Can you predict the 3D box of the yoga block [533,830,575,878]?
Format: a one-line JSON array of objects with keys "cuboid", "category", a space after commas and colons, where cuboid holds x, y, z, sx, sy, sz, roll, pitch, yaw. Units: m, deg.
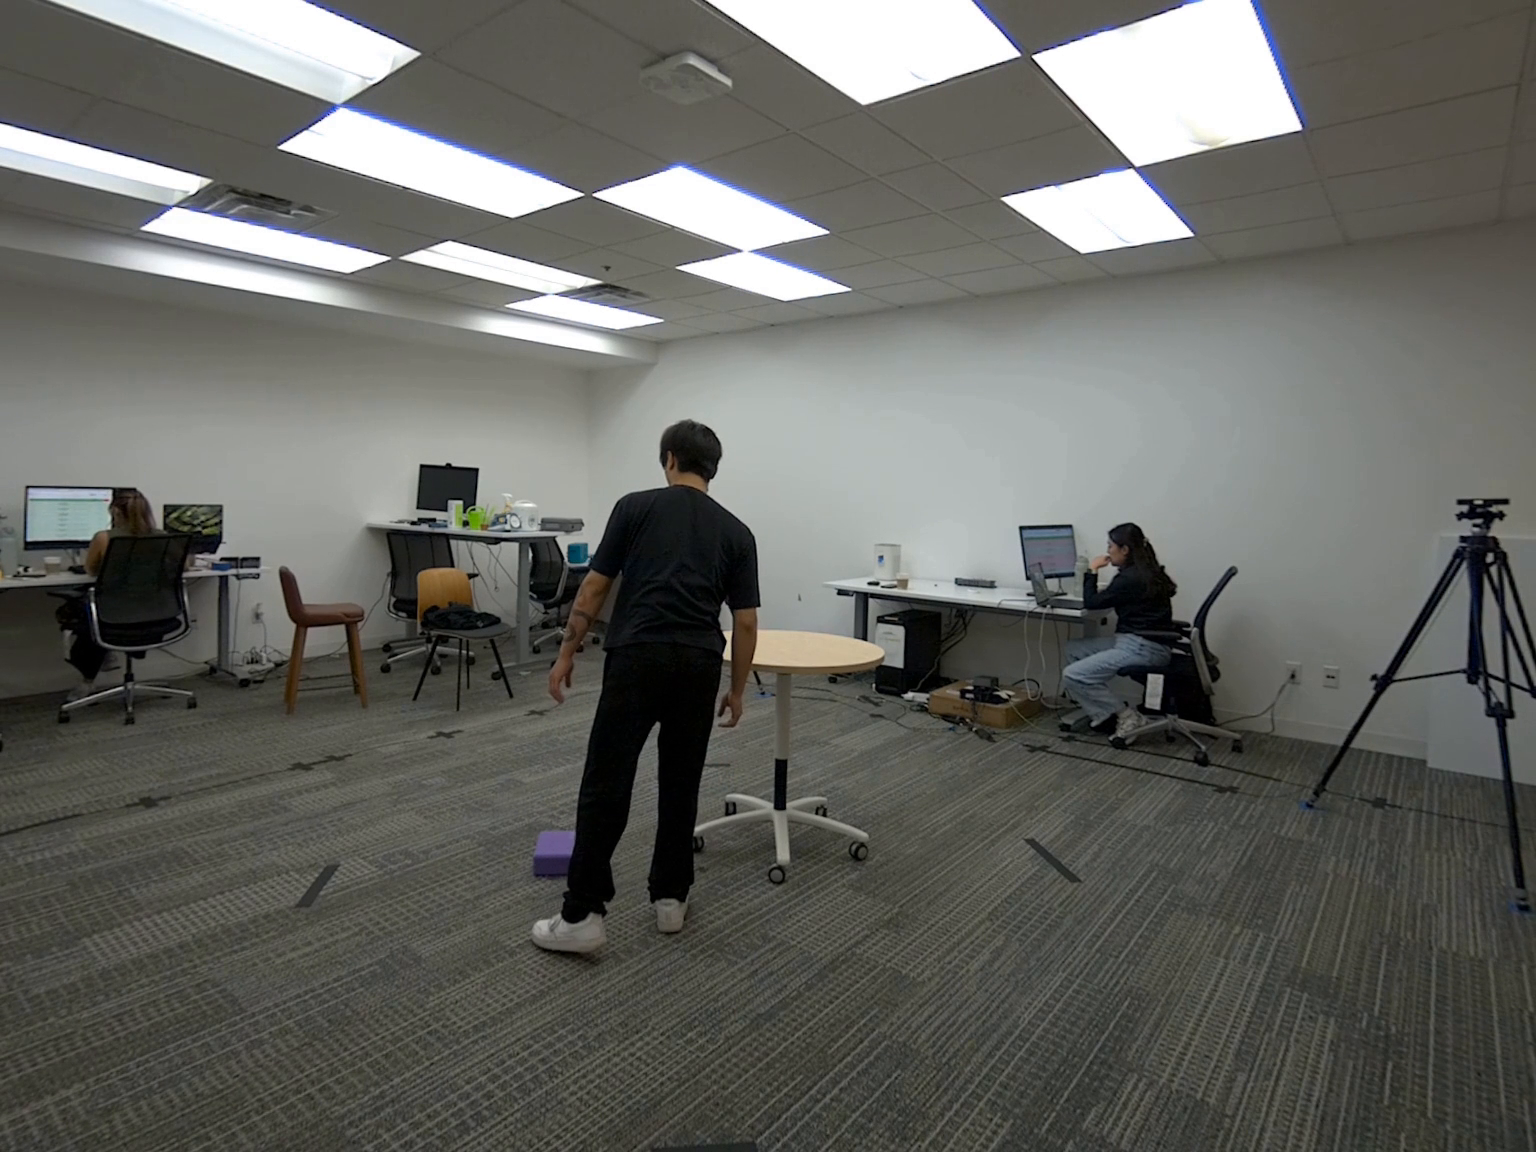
[{"cuboid": [-0.793, 1.019, 3.137, 0.148, 0.076, 0.232, 0, 6, -7], "category": "yoga block"}]
